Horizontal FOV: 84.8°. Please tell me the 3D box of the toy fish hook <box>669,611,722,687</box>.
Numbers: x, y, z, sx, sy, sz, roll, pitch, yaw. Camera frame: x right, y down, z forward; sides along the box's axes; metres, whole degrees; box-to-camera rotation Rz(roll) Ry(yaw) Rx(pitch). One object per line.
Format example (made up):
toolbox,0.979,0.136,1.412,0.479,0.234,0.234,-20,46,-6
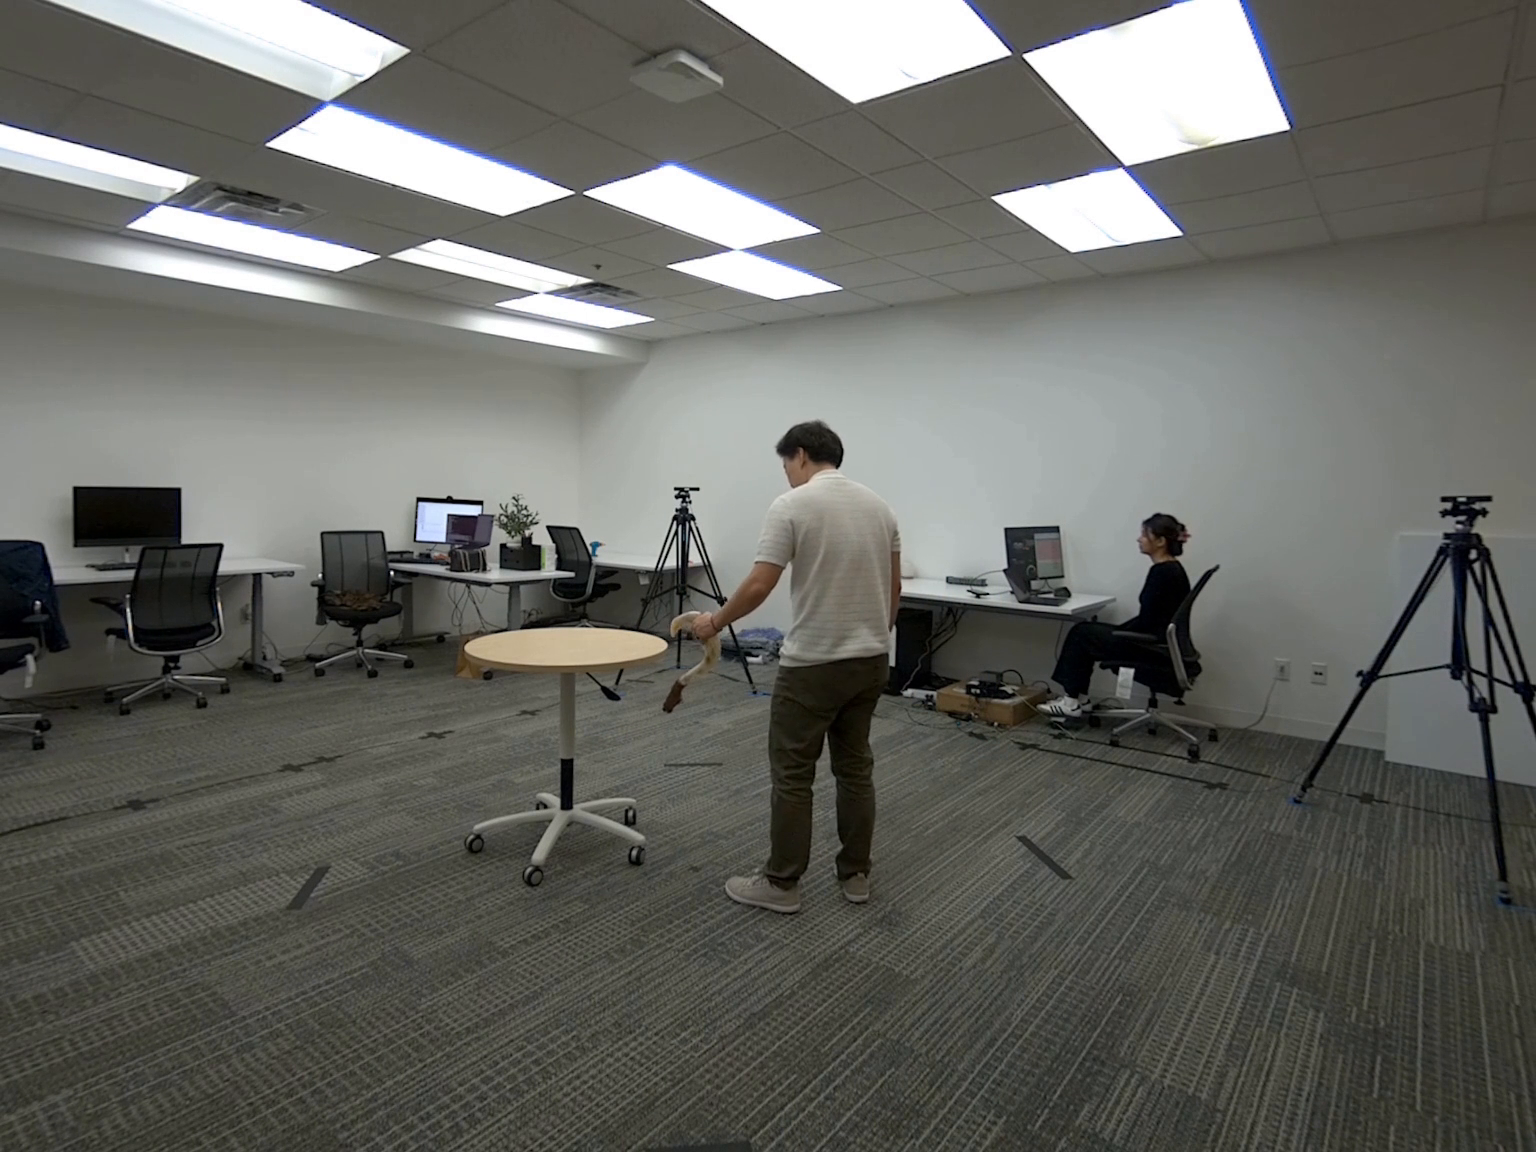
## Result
toy fish hook,-0.326,0.316,3.082,0.047,0.231,0.503,-18,-28,-43
